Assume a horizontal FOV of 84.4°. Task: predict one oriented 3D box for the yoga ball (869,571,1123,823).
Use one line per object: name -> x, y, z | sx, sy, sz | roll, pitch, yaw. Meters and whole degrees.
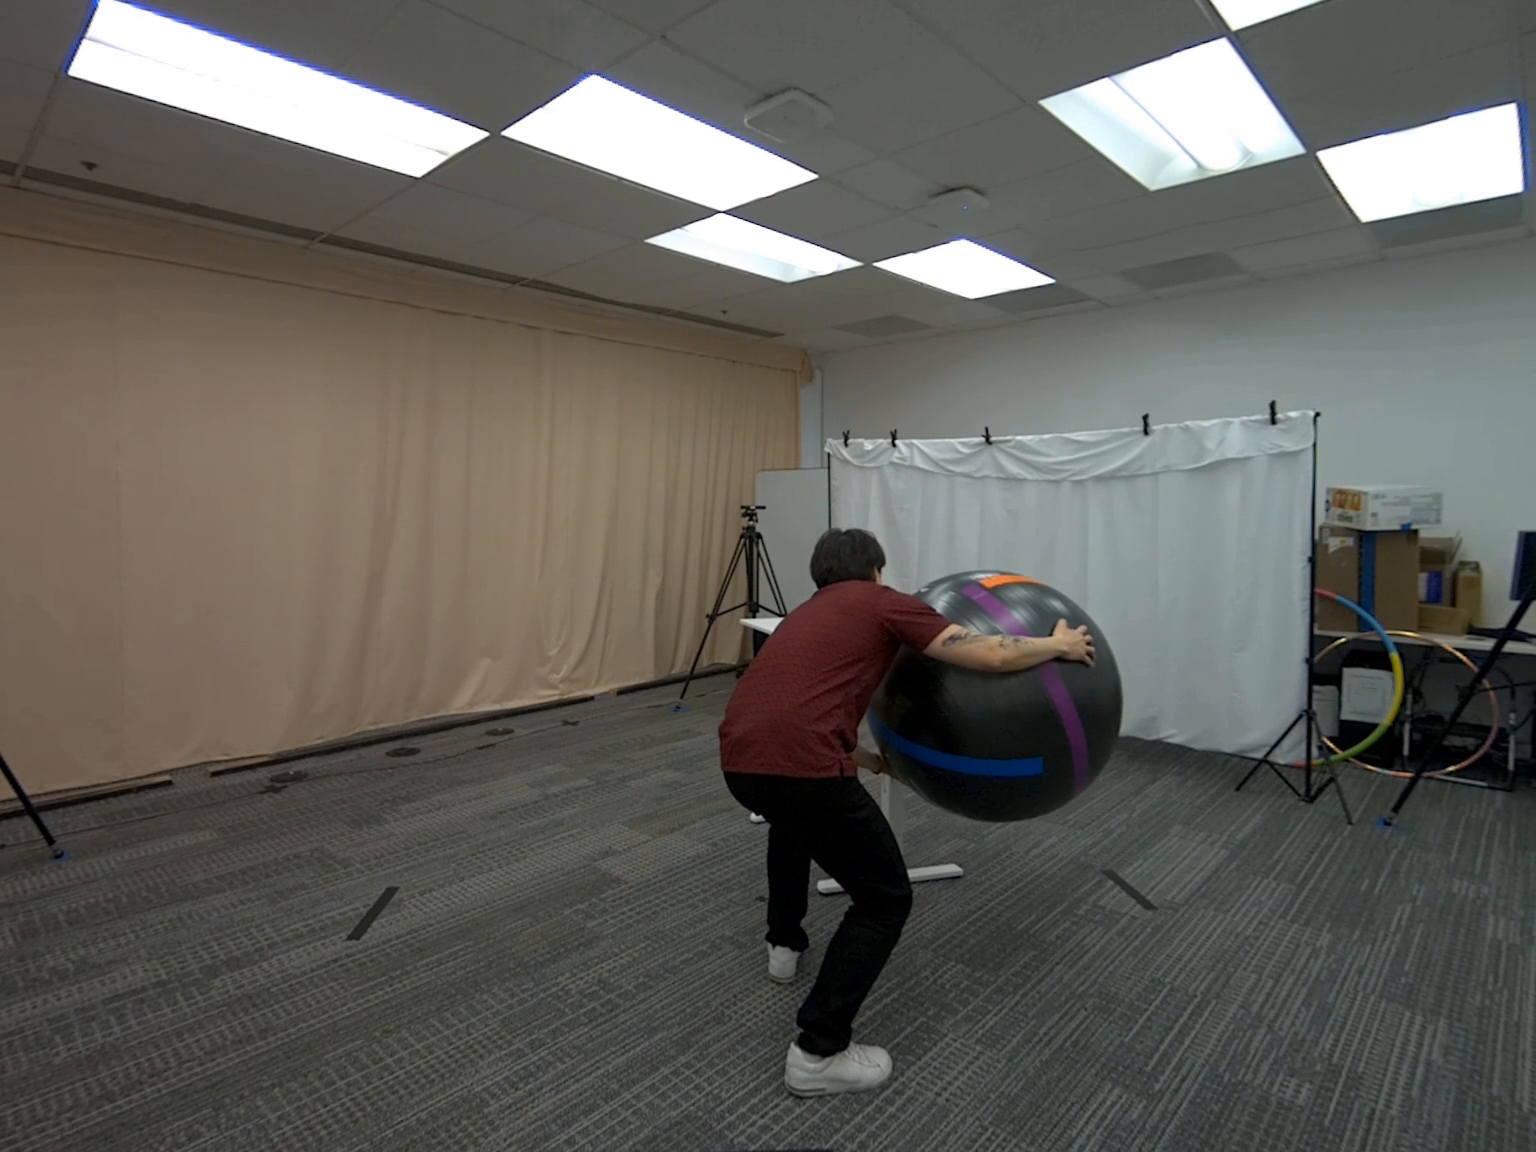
yoga ball -> 0.694, 0.375, 2.596 | 0.757, 0.756, 0.760 | 0, 4, -2
